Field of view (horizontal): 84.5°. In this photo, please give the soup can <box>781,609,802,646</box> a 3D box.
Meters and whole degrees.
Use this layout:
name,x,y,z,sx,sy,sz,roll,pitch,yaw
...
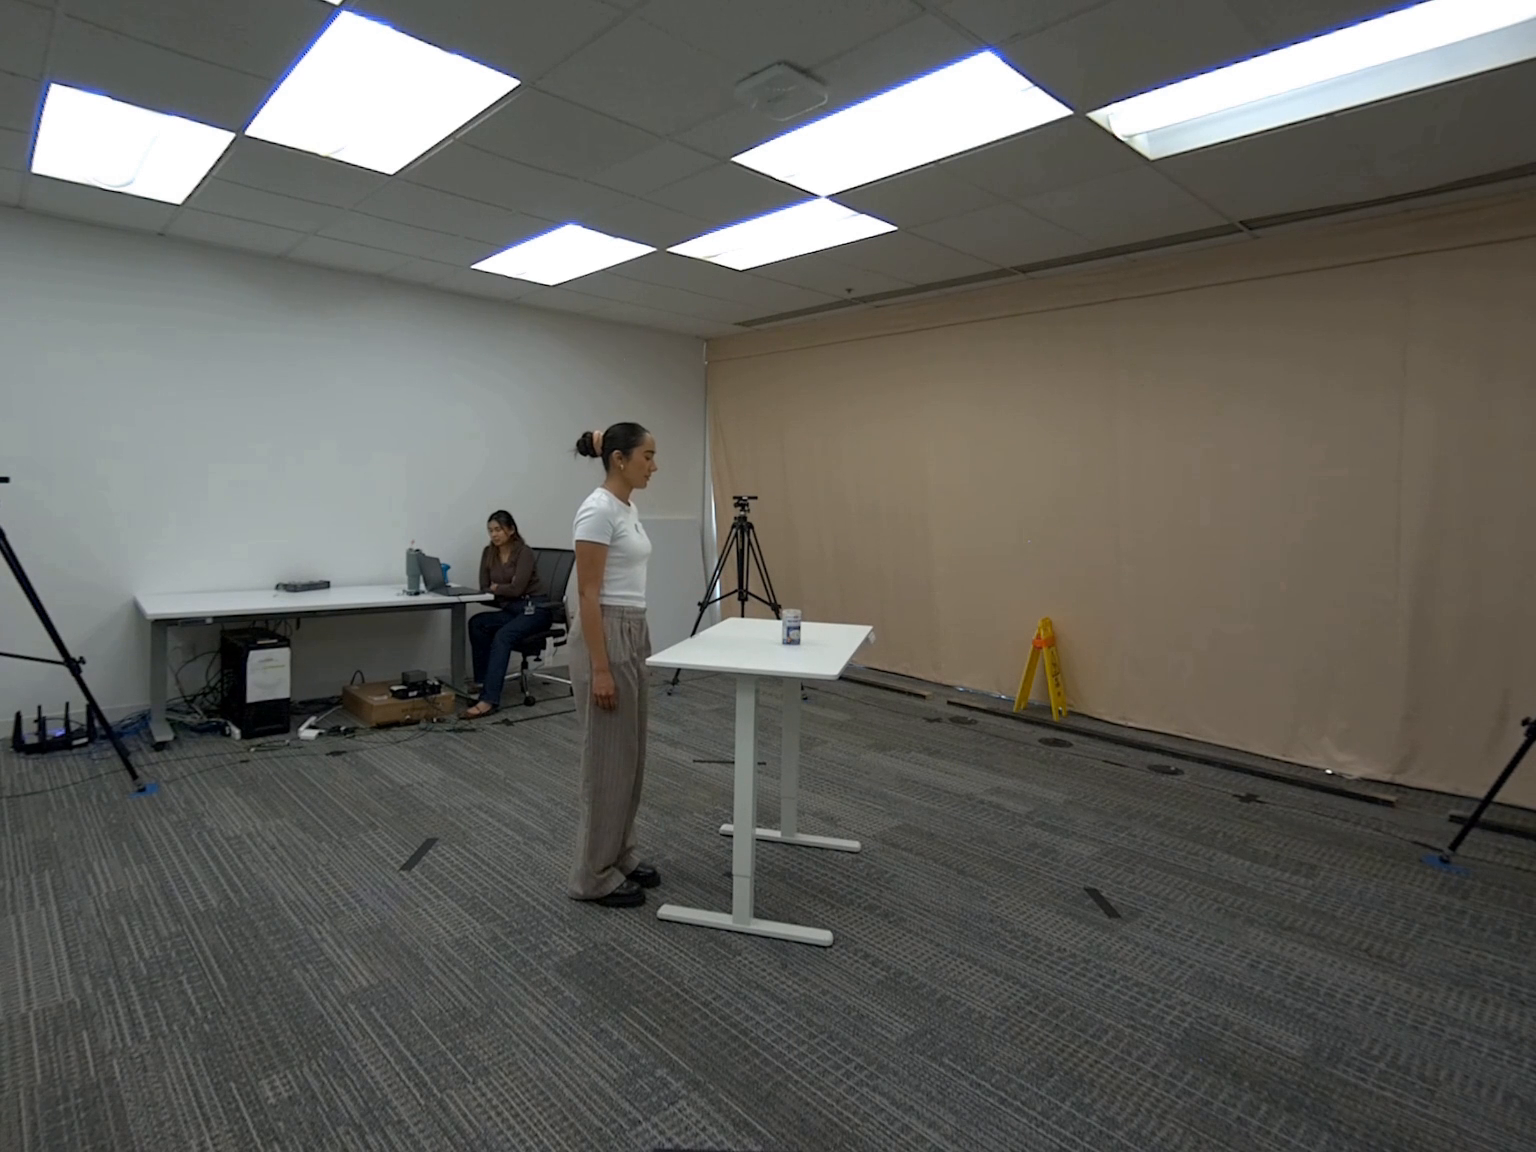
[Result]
name,x,y,z,sx,sy,sz,roll,pitch,yaw
soup can,0.073,0.178,2.965,0.067,0.122,0.067,-1,-3,-1
